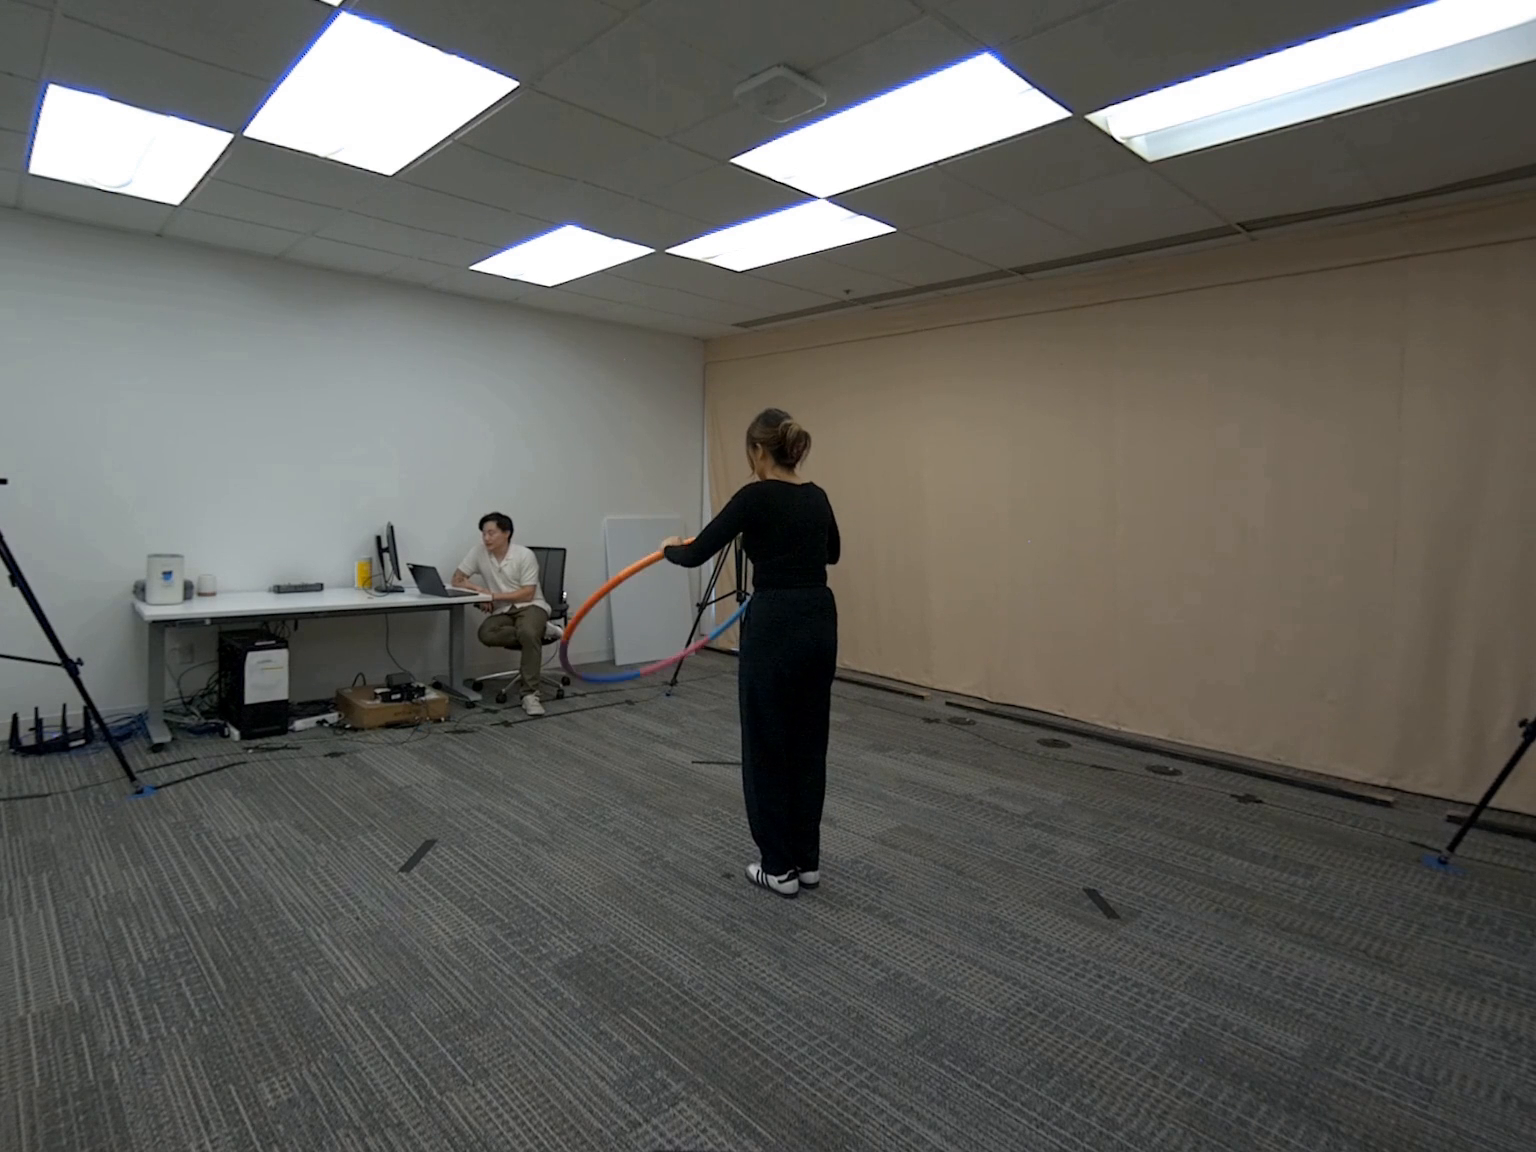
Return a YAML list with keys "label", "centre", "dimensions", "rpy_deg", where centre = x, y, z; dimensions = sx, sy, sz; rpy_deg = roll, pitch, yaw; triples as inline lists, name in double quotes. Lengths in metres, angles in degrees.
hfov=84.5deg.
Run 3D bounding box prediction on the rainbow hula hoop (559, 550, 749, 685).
- label: "rainbow hula hoop"
  centre: [-0.385, 0.124, 3.470]
  dimensions: [0.973, 0.036, 0.960]
  rpy_deg: [-26, -25, -15]
